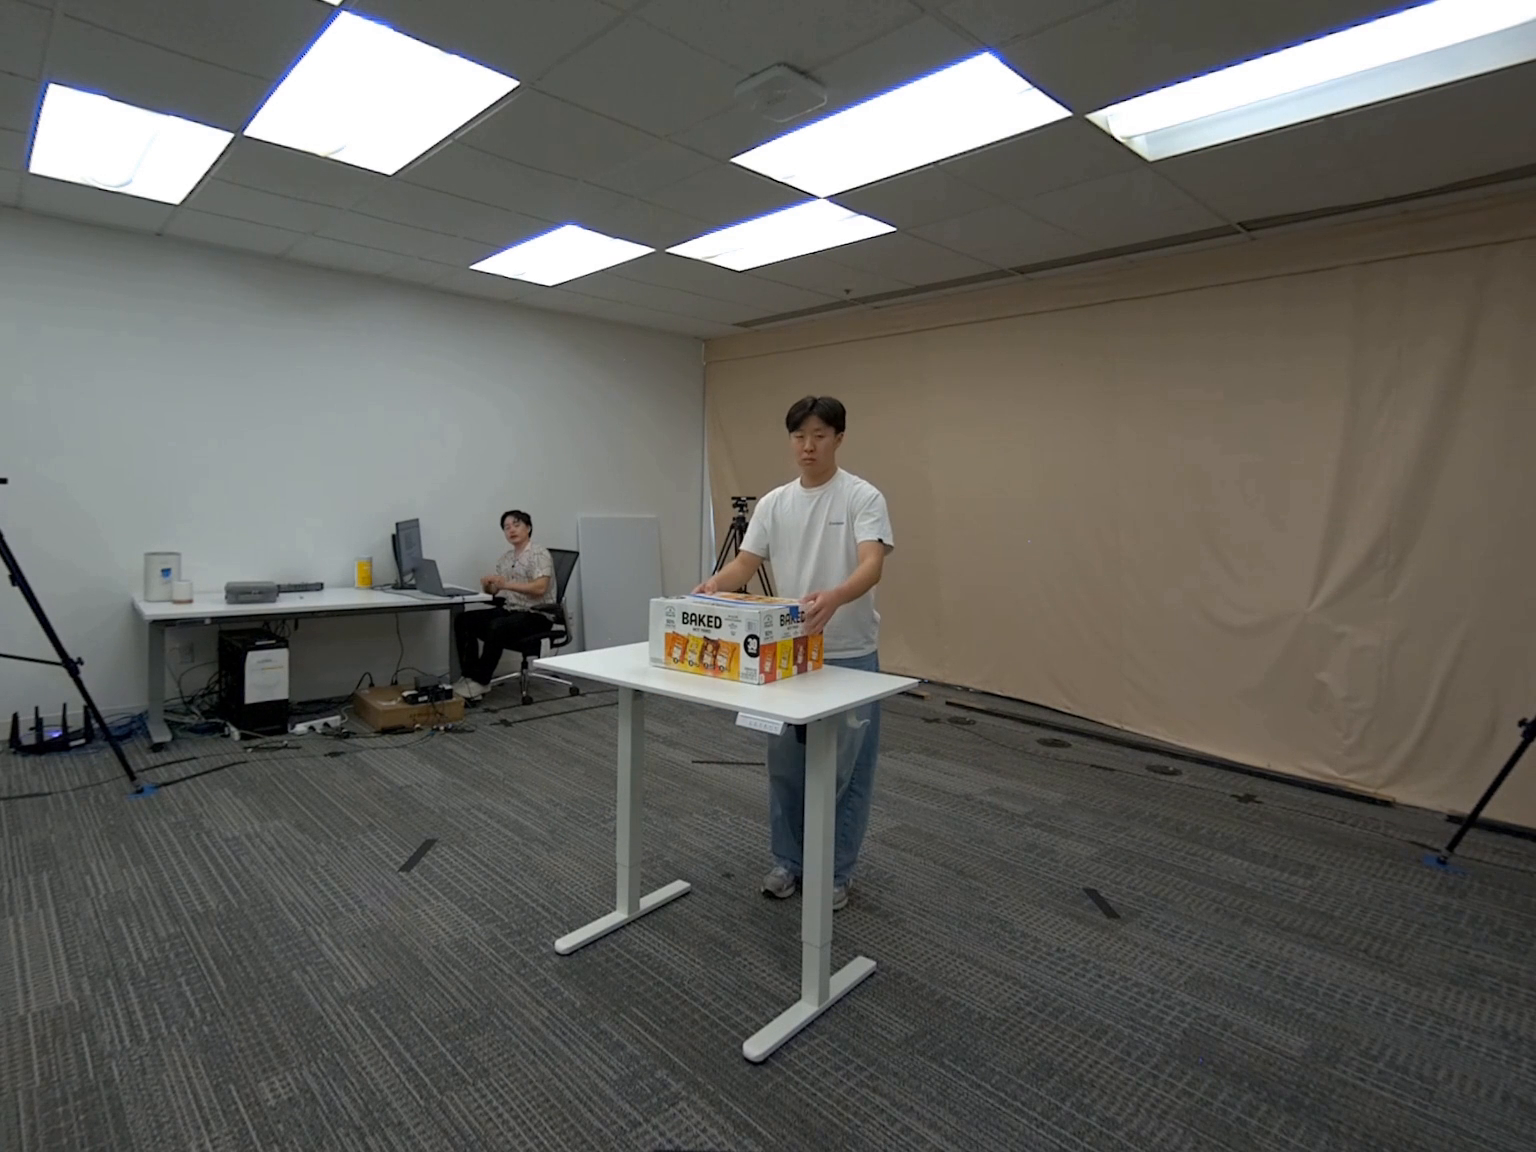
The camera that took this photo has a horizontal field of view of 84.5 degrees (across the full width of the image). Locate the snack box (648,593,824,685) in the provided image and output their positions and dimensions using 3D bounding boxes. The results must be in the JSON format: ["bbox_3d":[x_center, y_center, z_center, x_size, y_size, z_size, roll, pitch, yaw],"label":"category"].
[{"bbox_3d":[-0.101,0.178,2.537,0.415,0.205,0.333,4,4,36],"label":"snack box"}]
